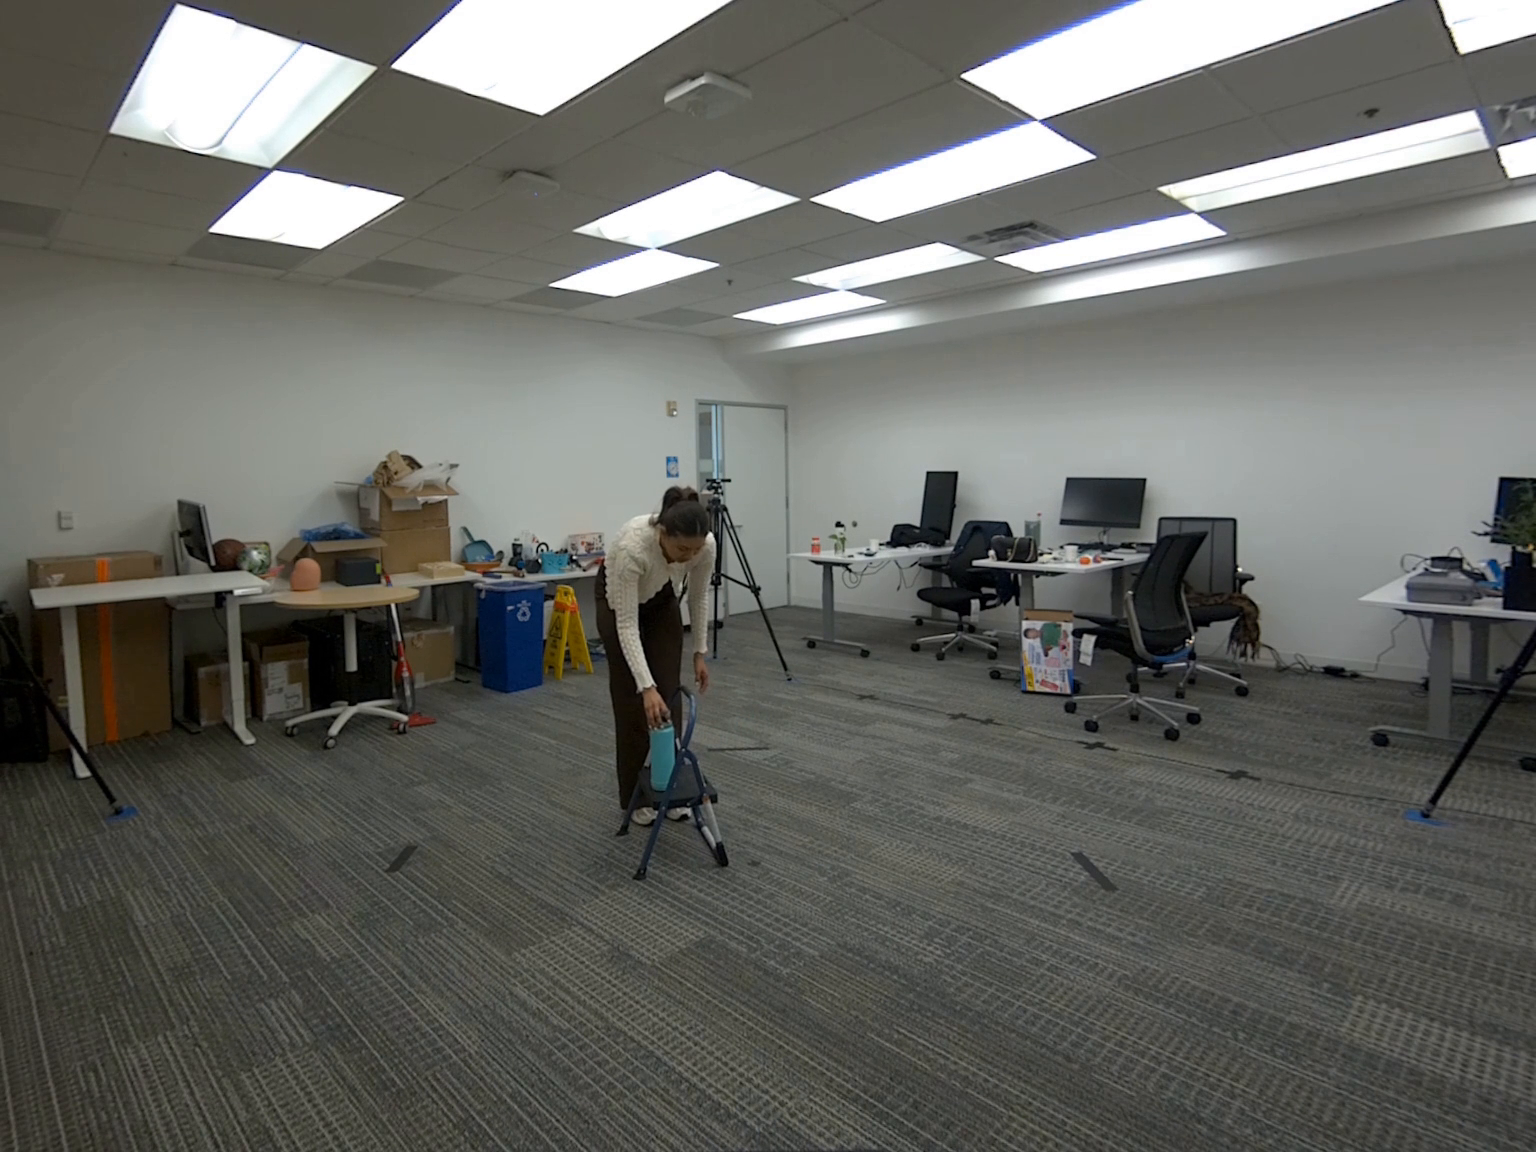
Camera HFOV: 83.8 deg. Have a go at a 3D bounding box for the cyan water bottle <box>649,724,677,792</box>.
[{"bbox_3d":[-0.394,0.645,3.160,0.092,0.282,0.092,-1,3,-2],"label":"cyan water bottle"}]
